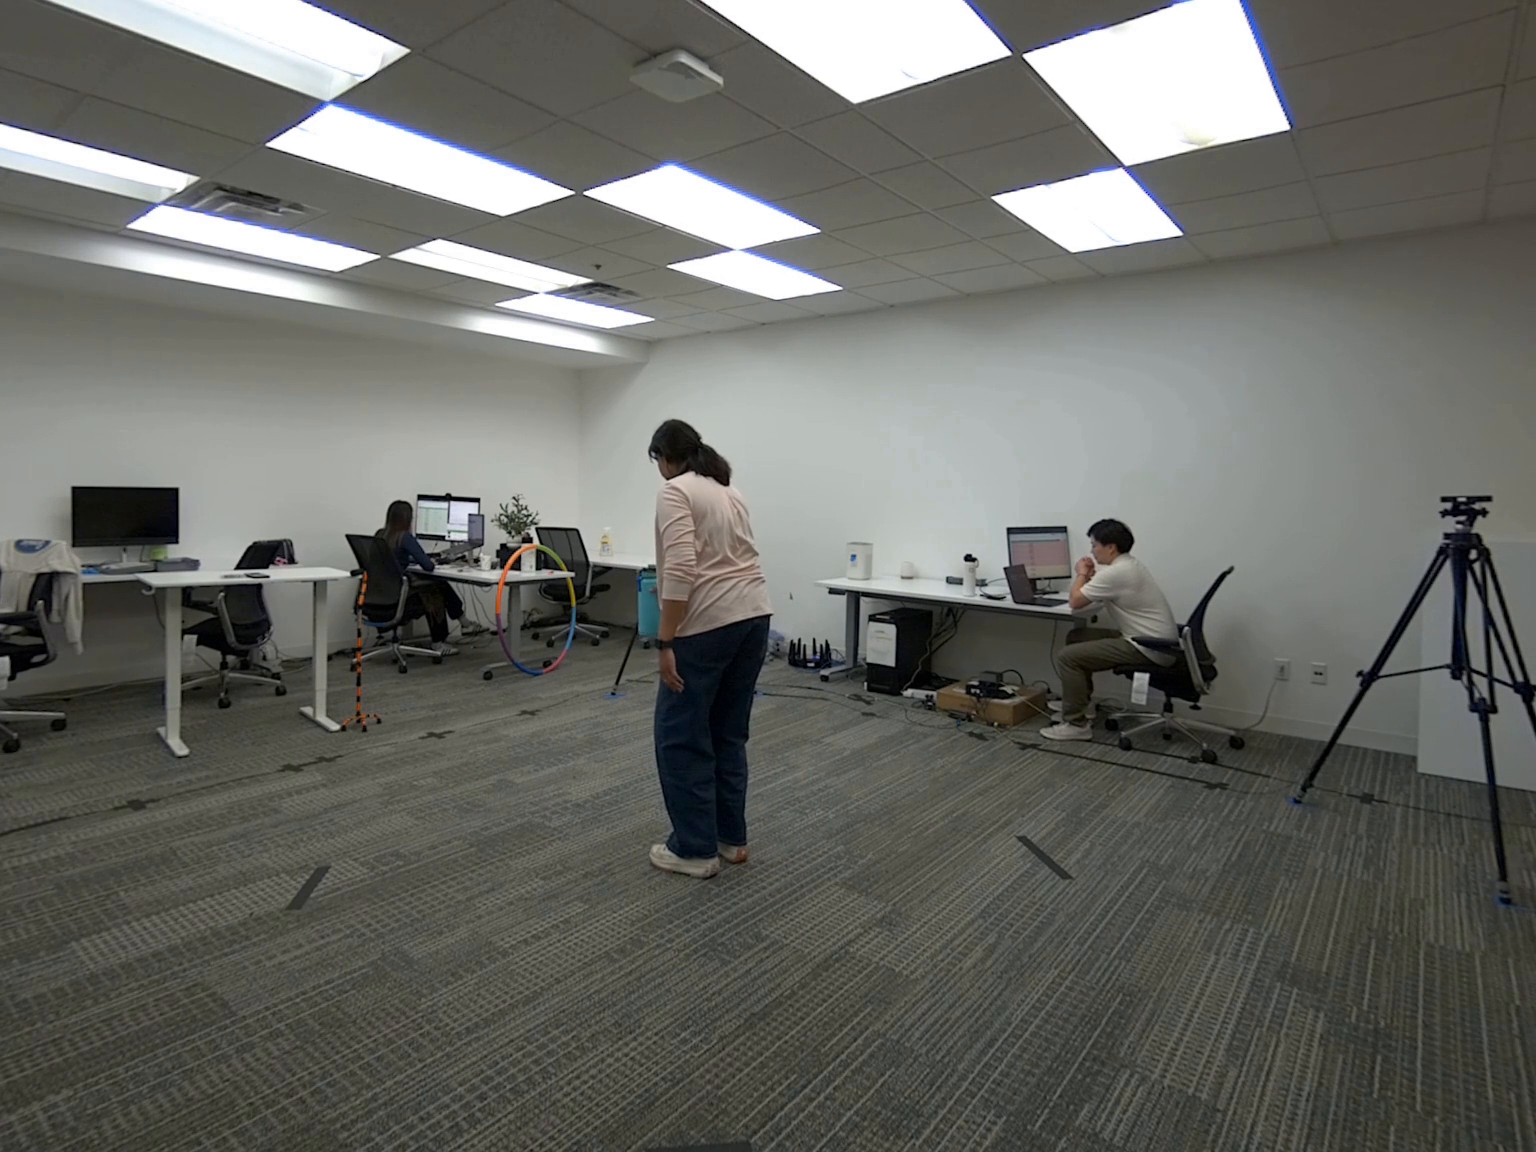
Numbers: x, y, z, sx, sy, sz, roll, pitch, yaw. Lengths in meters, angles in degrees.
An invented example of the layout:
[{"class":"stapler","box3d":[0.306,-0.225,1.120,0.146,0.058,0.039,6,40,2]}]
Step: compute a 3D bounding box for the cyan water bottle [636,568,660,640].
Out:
[{"class":"cyan water bottle","box3d":[-0.495,0.097,3.465,0.092,0.283,0.092,-3,2,-2]}]
